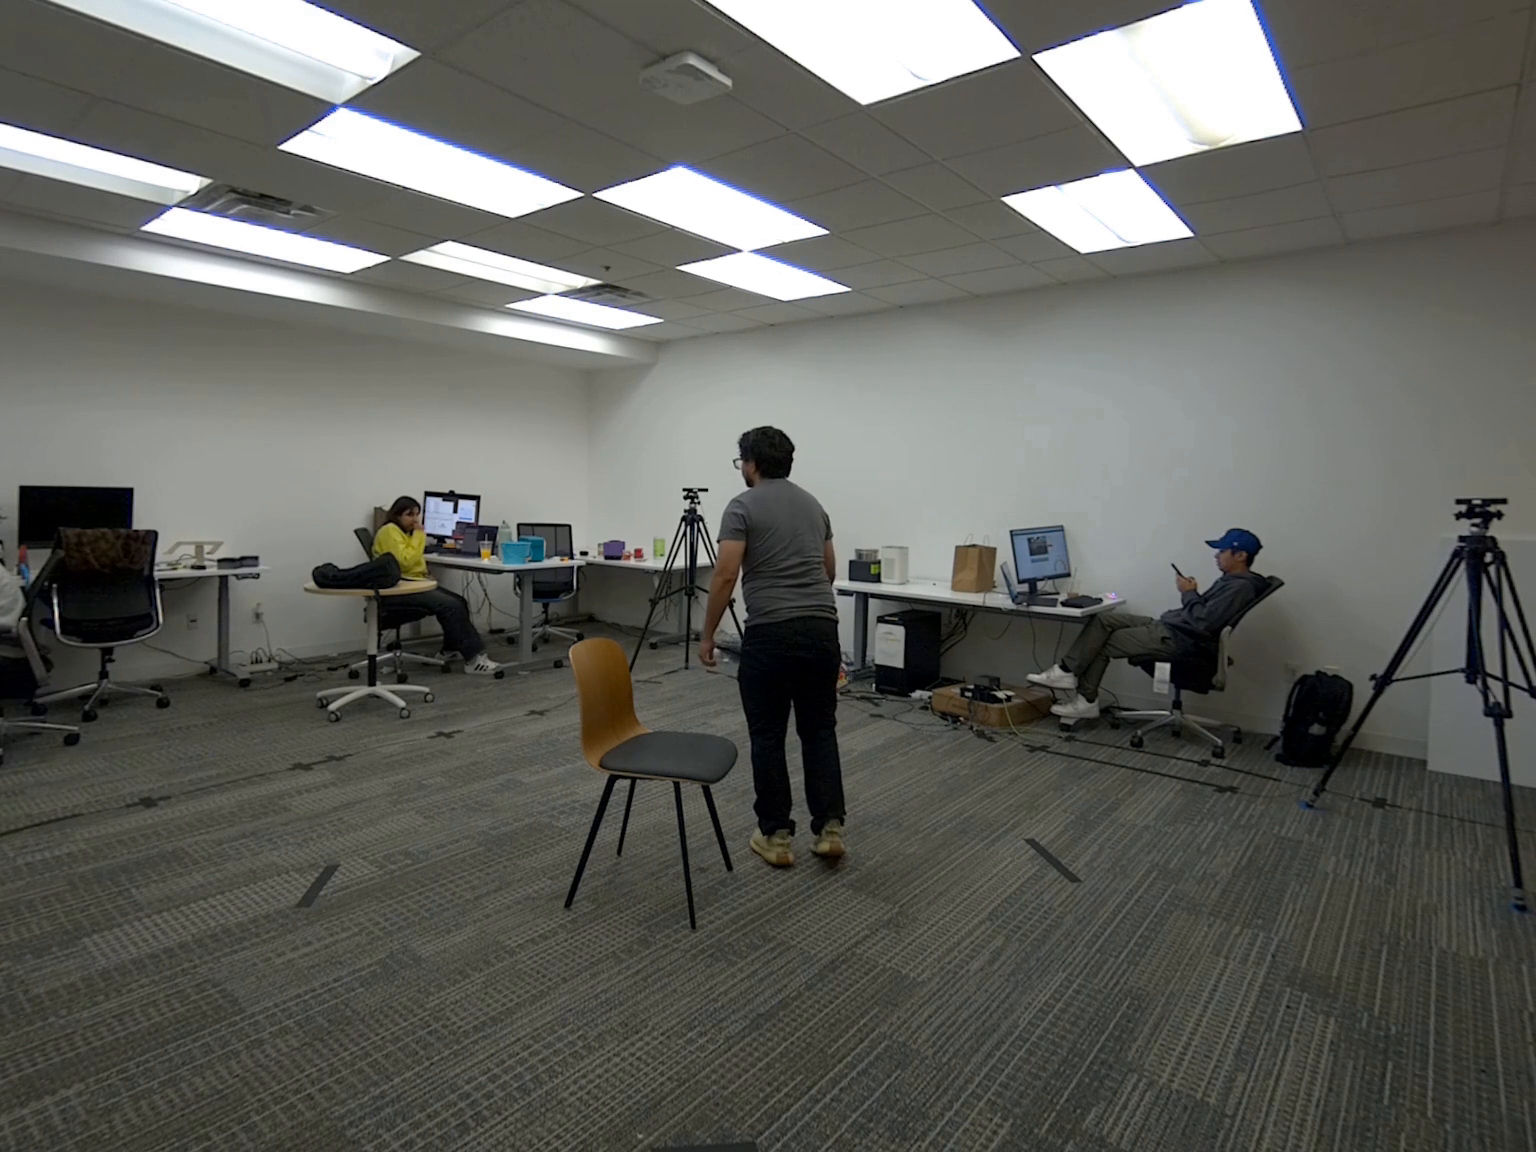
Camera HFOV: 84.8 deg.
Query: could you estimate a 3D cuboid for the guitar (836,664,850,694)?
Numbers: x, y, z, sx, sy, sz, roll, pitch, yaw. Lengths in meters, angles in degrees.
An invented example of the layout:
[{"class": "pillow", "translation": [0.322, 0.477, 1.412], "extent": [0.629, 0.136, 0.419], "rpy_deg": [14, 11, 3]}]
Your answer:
[{"class": "guitar", "translation": [0.196, 0.285, 3.720], "extent": [0.188, 0.513, 0.070], "rpy_deg": [-9, -30, -34]}]
